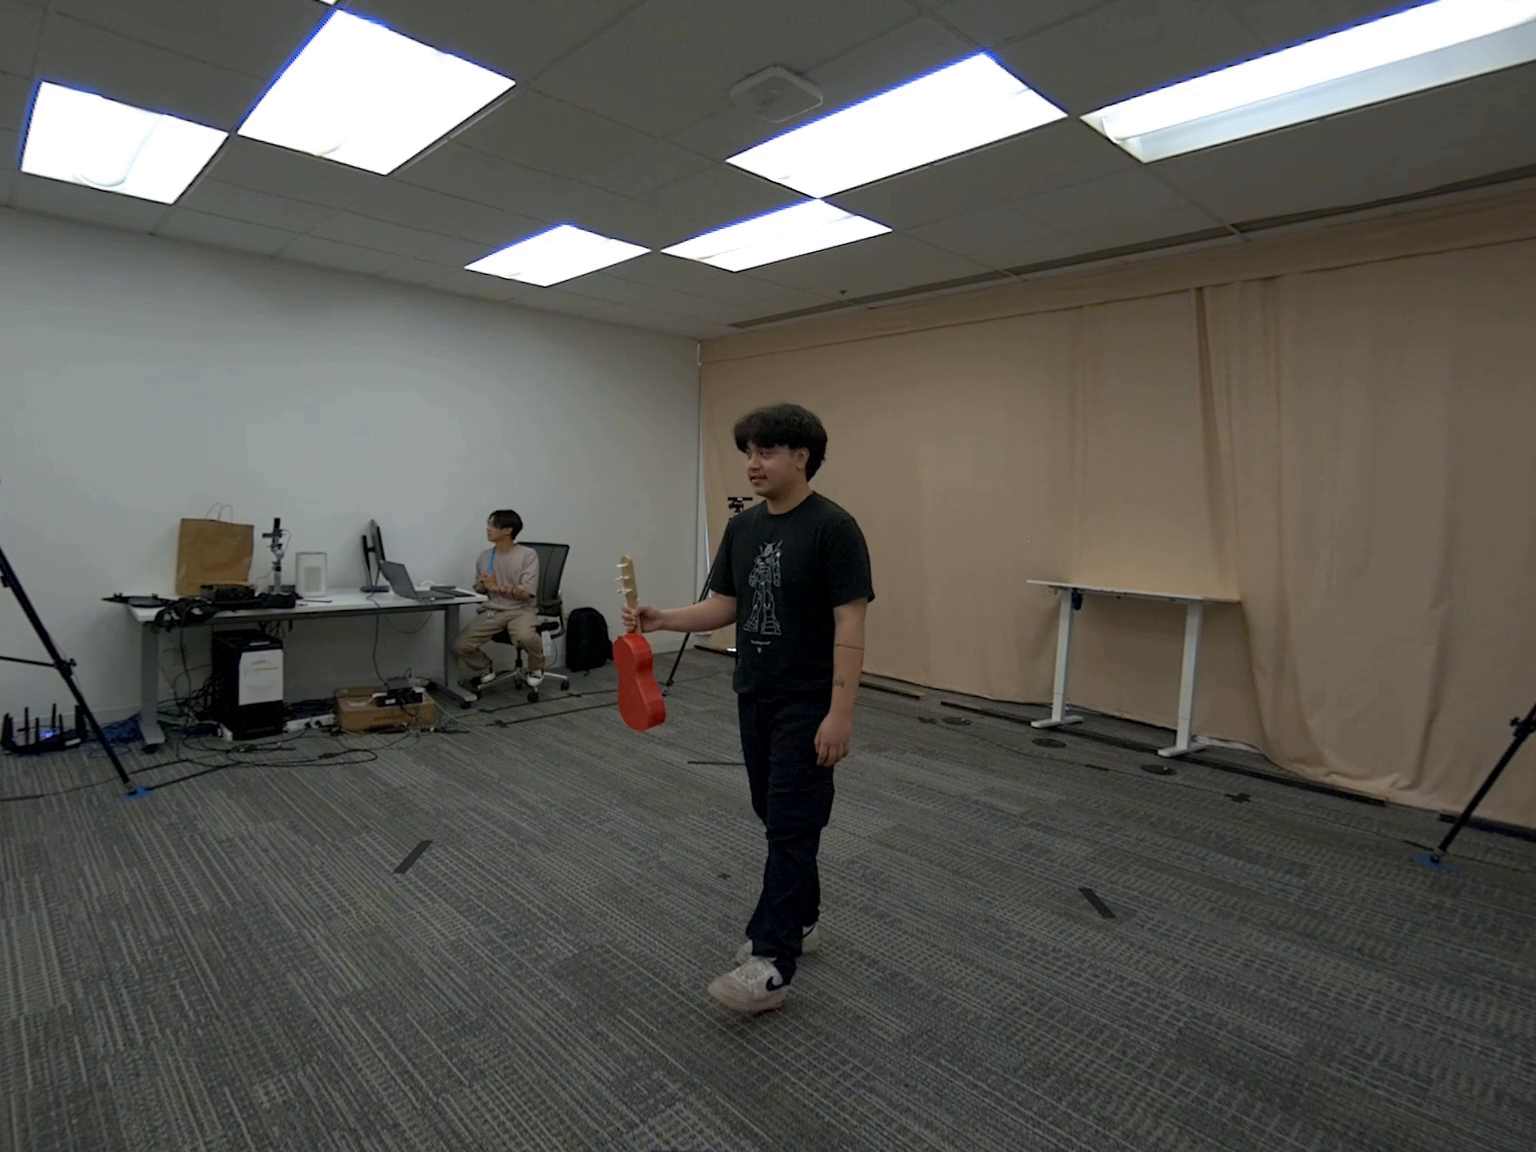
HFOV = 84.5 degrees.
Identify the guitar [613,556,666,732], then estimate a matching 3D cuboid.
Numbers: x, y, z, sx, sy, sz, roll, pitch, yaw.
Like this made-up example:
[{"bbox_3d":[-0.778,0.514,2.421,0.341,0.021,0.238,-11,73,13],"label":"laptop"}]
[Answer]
[{"bbox_3d":[-0.408,0.198,2.465,0.069,0.500,0.195,-9,-6,-33],"label":"guitar"}]
